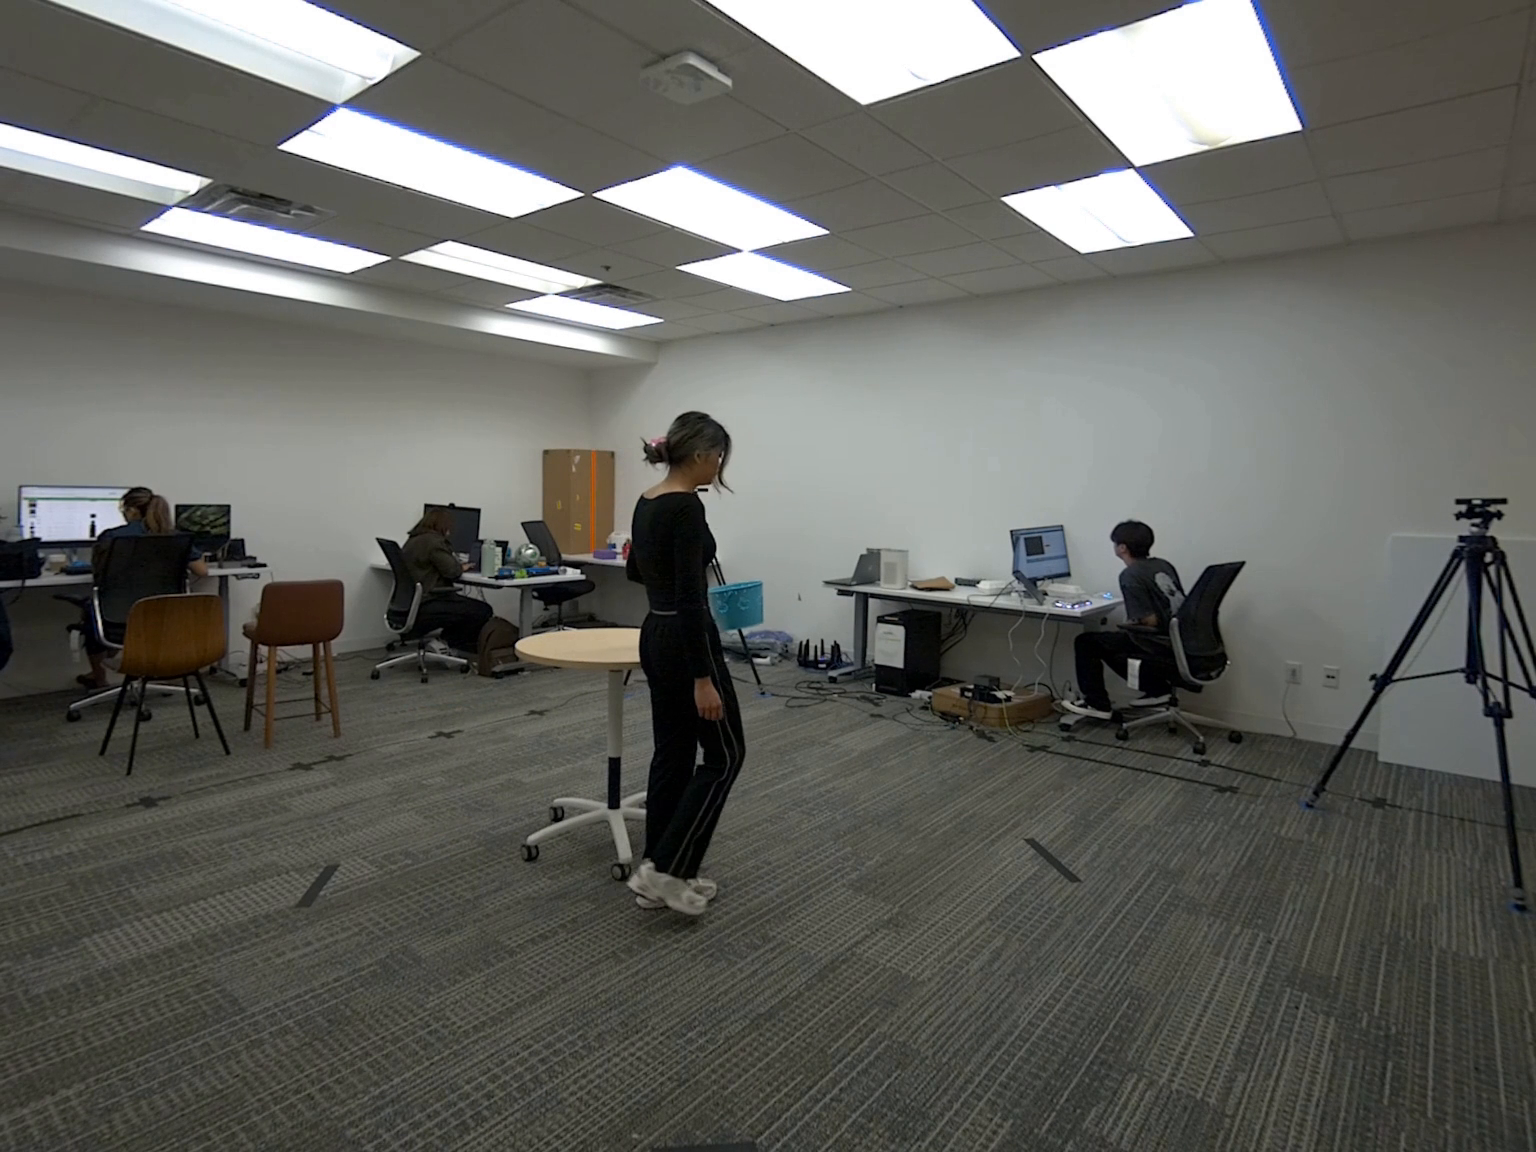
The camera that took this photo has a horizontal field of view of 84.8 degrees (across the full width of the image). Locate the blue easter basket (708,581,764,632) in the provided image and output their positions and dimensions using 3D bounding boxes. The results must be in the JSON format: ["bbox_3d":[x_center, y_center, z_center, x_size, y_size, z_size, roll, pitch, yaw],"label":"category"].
[{"bbox_3d":[-0.137,0.112,3.219,0.243,0.155,0.244,-8,4,-1],"label":"blue easter basket"}]
